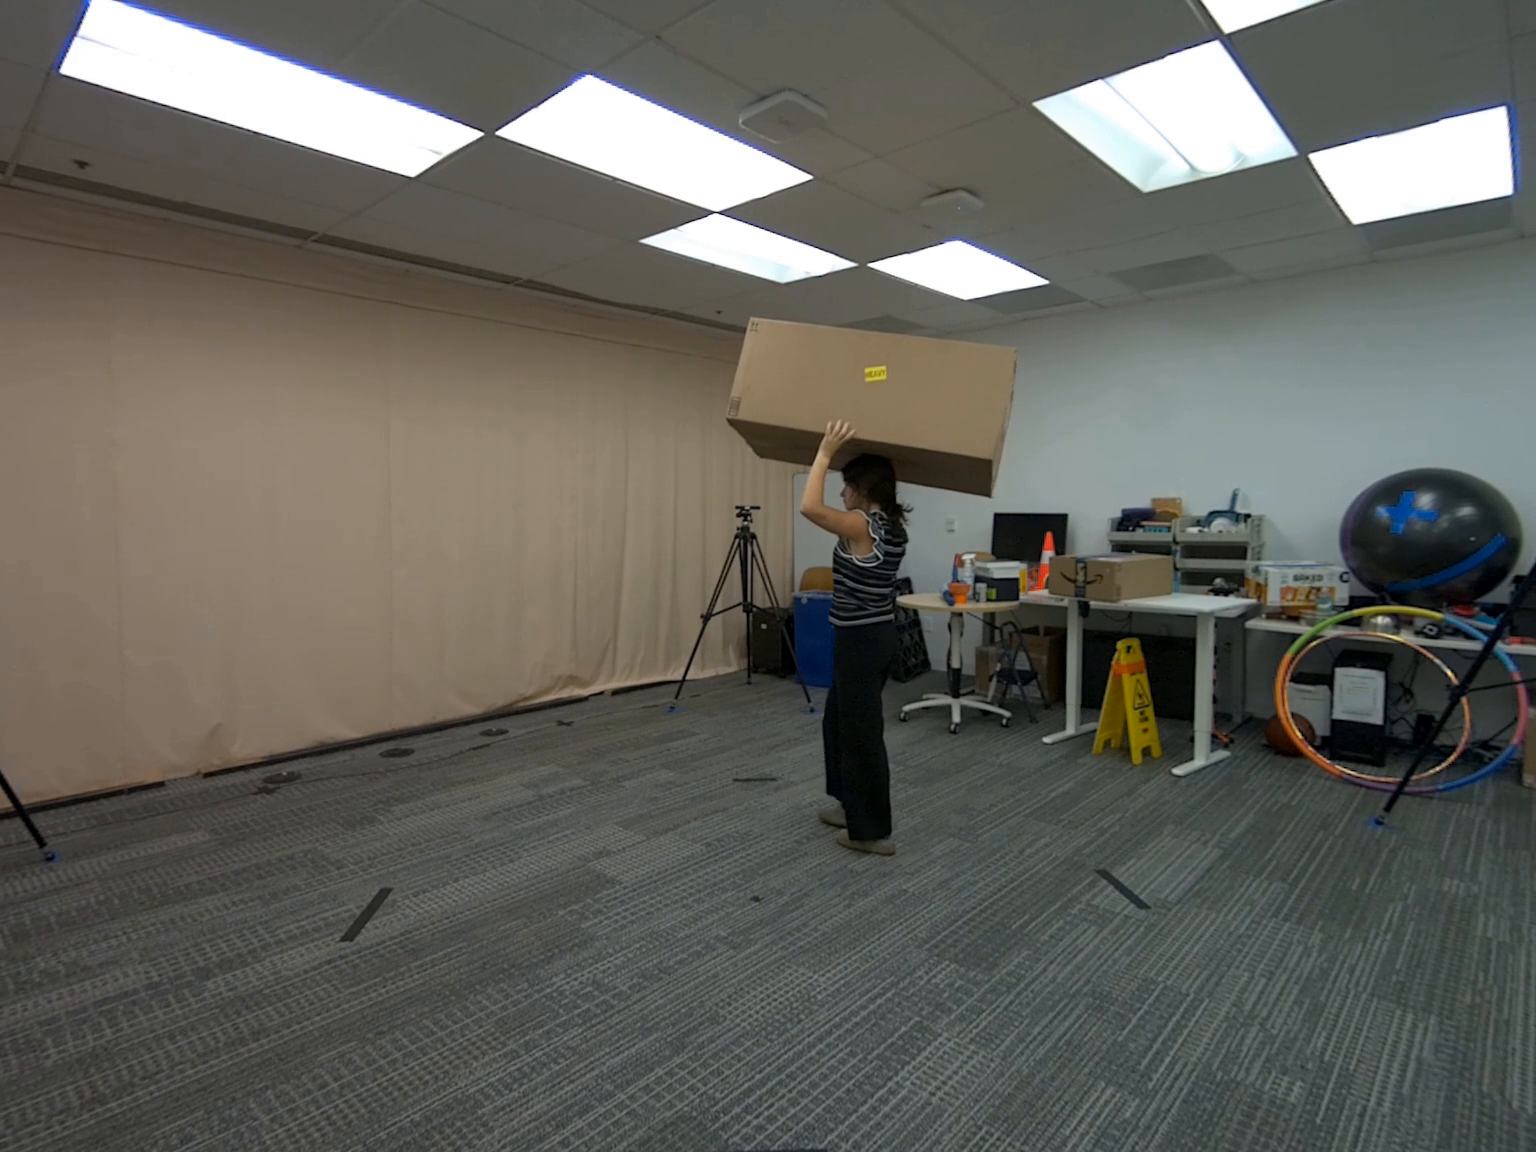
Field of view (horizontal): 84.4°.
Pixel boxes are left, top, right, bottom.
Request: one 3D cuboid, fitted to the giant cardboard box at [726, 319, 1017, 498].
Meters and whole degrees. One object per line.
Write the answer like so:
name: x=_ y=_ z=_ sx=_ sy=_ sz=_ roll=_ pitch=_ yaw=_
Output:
giant cardboard box: x=0.430 y=-0.670 z=3.411 sx=1.048 sy=0.427 sz=0.564 roll=12 pitch=-5 yaw=18
